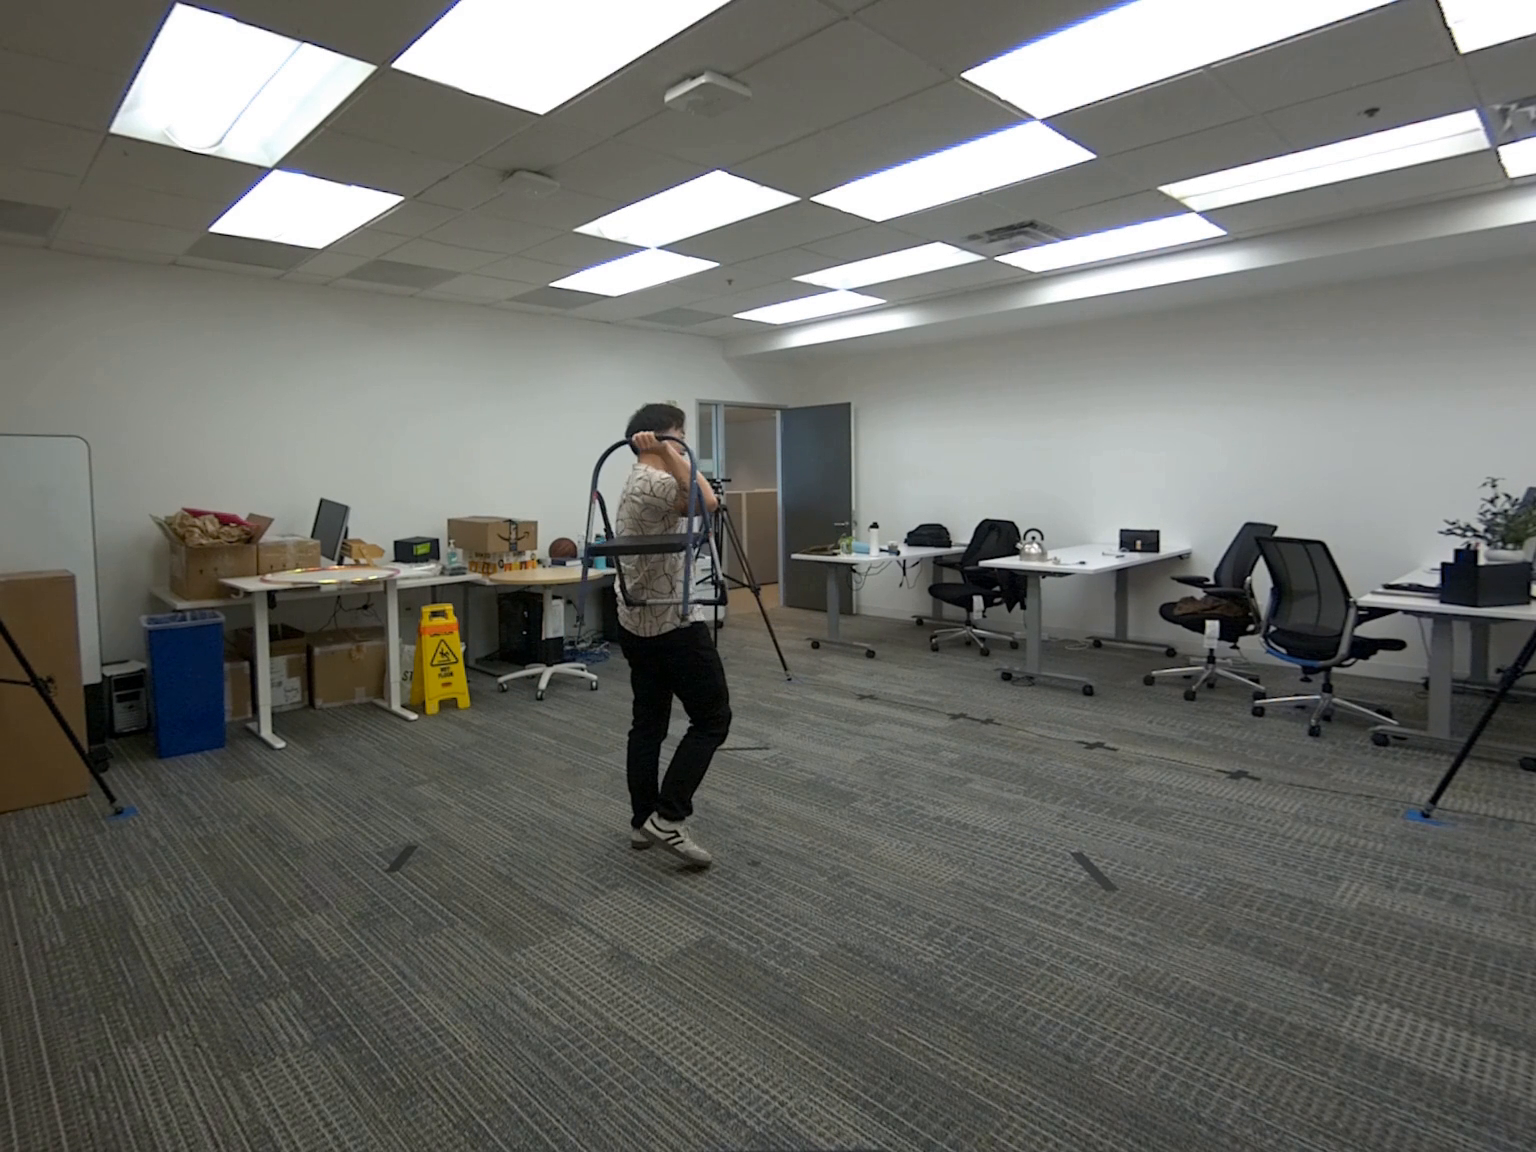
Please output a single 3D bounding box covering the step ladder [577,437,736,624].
[{"bbox_3d":[-0.406,-0.160,2.863,0.439,0.603,0.344,-3,6,23],"label":"step ladder"}]
